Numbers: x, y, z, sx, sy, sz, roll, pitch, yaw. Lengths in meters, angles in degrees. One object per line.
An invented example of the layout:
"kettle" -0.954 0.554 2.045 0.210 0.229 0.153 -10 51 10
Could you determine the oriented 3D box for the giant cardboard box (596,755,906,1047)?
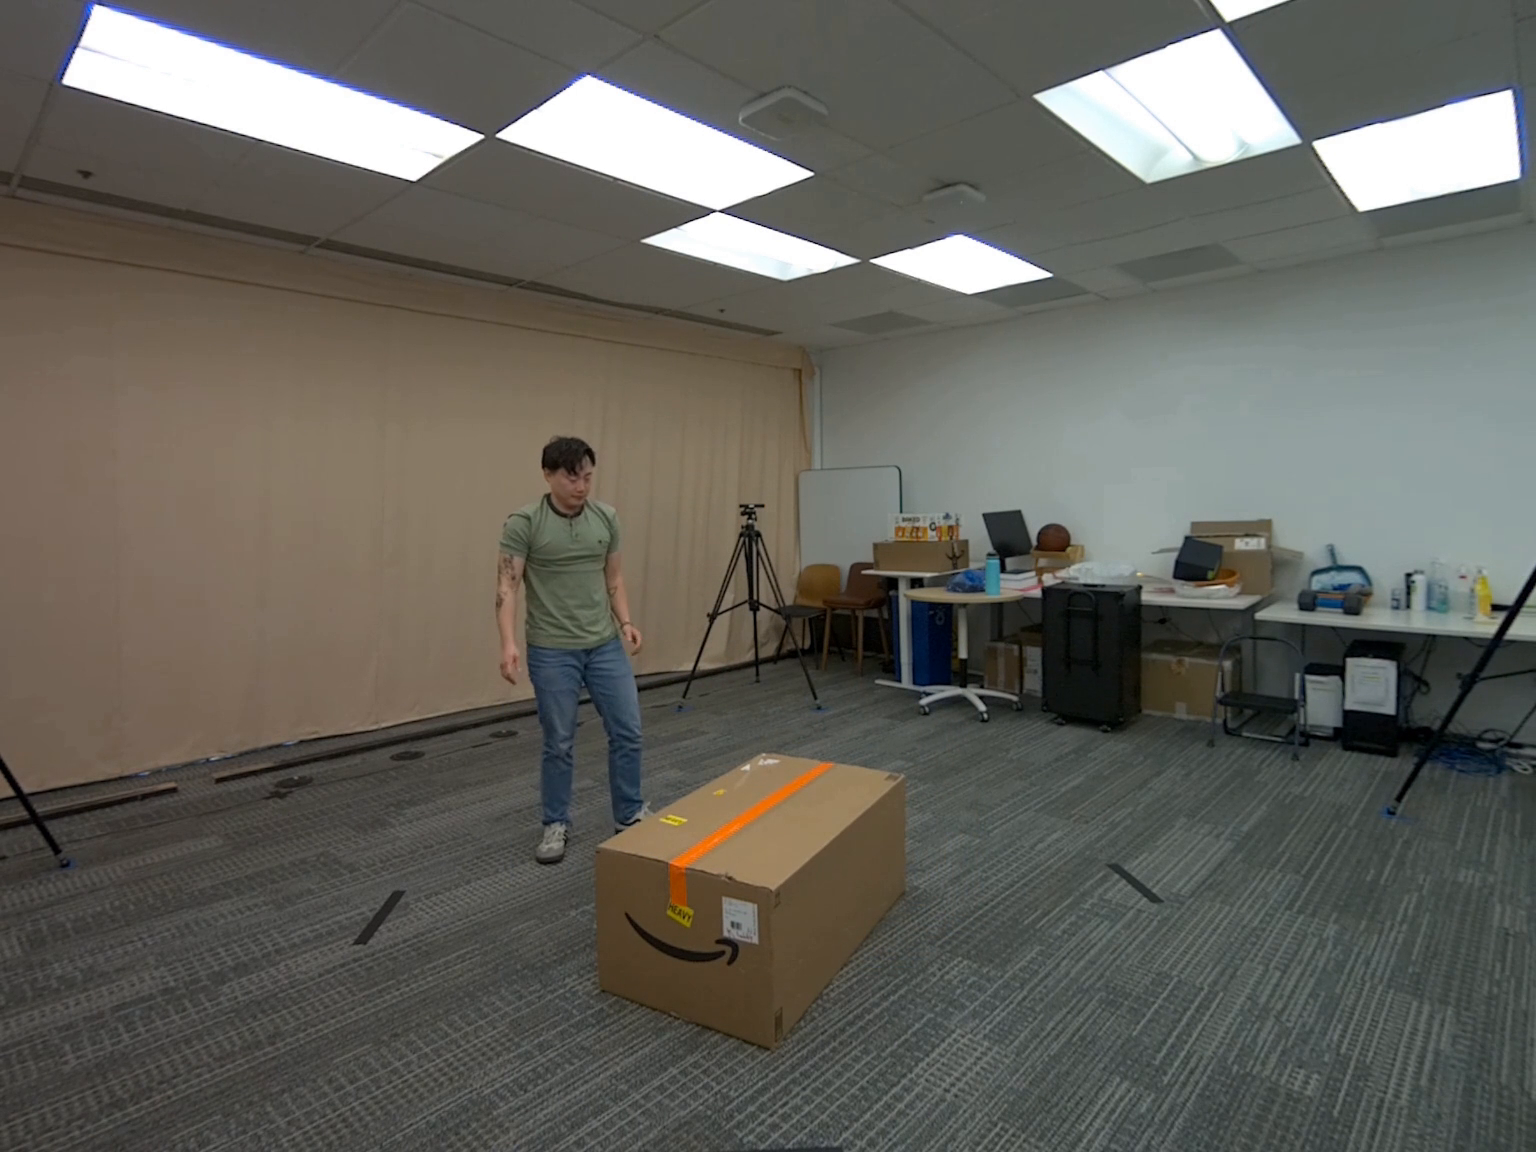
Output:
"giant cardboard box" 0.001 0.948 2.706 0.594 0.425 1.000 1 5 29
